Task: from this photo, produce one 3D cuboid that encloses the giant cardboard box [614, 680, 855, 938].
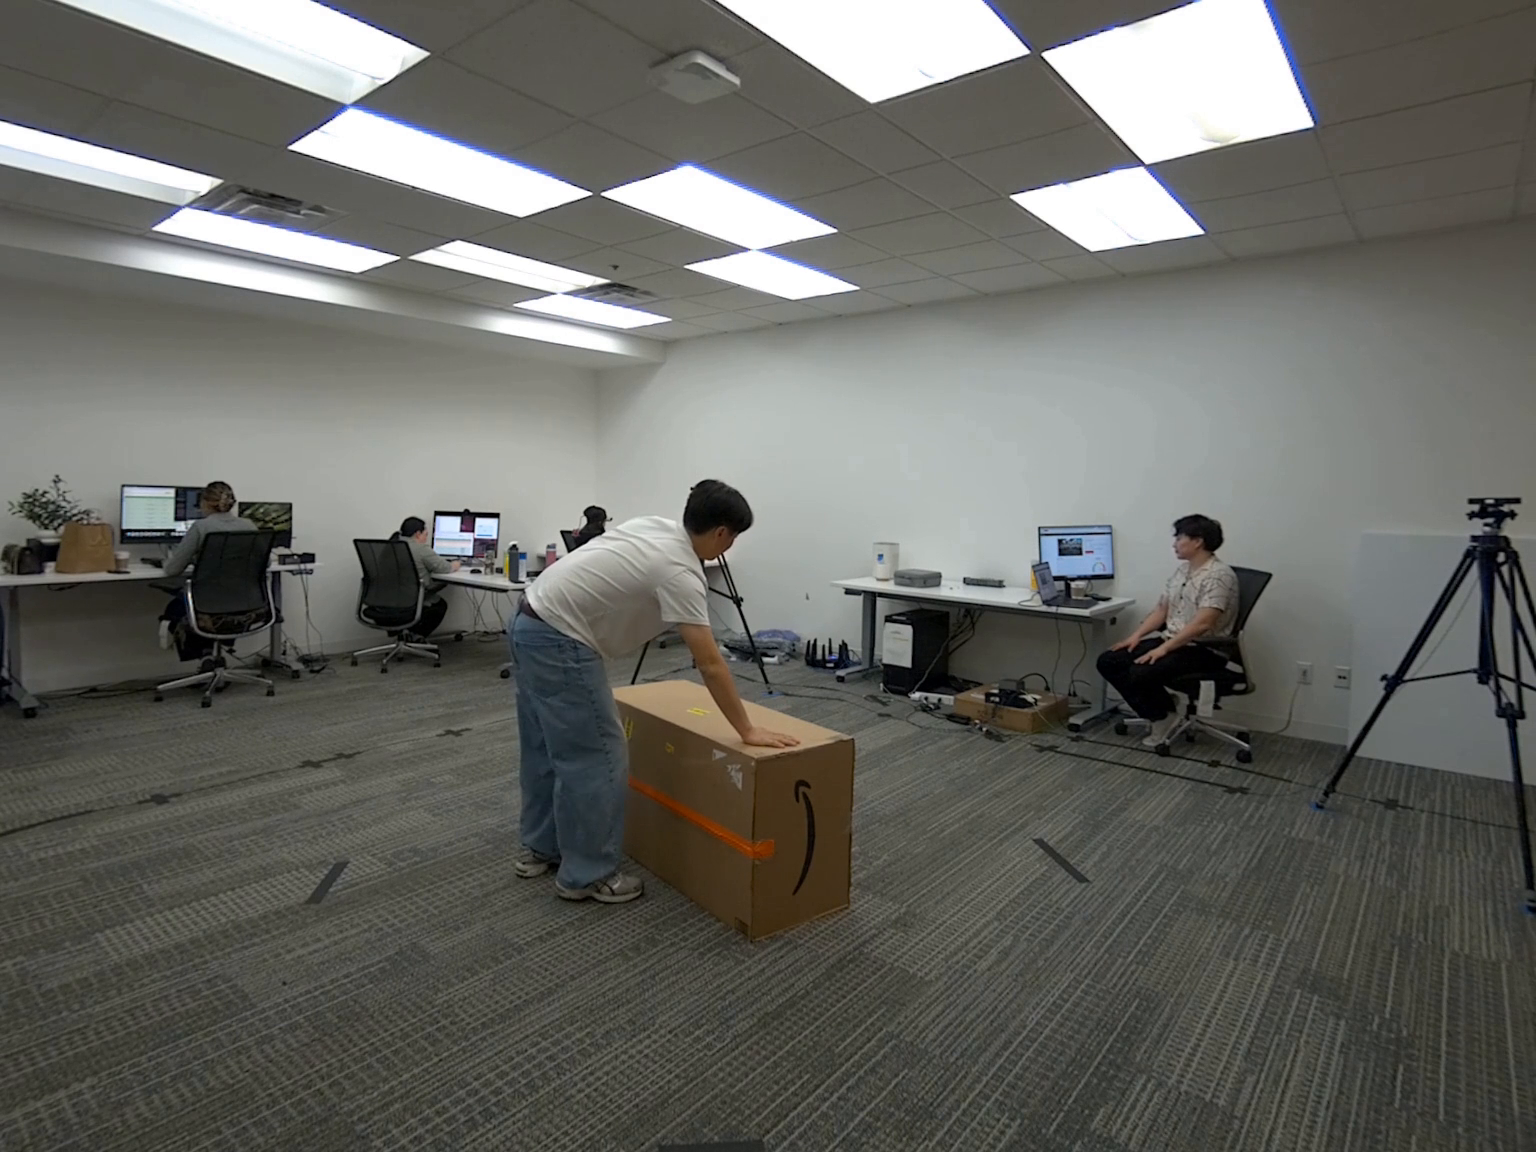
[{"bbox_3d":[-0.212,0.780,3.115,0.413,0.576,1.060,-1,5,-38],"label":"giant cardboard box"}]
